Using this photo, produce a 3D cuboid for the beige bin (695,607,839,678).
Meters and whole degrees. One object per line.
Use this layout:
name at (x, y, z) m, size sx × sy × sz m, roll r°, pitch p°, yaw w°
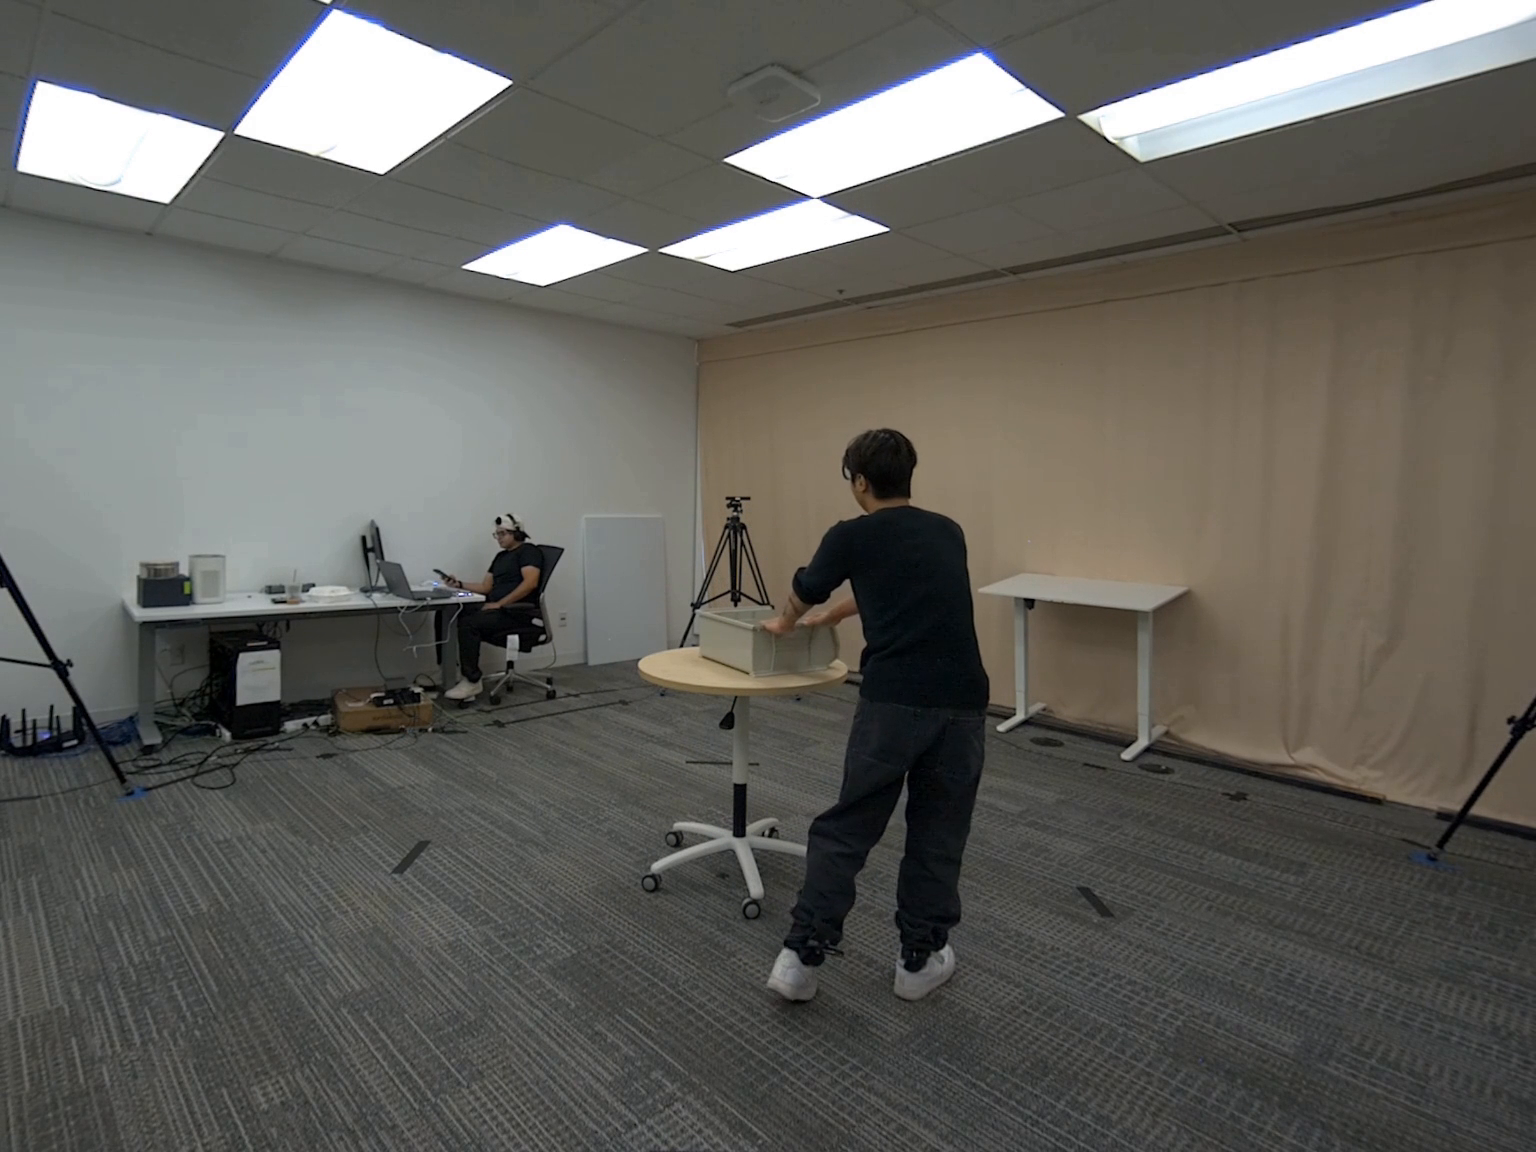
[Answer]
beige bin at (-0.017, 0.232, 3.127) m, size 0.370 × 0.188 × 0.432 m, roll -4°, pitch 8°, yaw -31°
